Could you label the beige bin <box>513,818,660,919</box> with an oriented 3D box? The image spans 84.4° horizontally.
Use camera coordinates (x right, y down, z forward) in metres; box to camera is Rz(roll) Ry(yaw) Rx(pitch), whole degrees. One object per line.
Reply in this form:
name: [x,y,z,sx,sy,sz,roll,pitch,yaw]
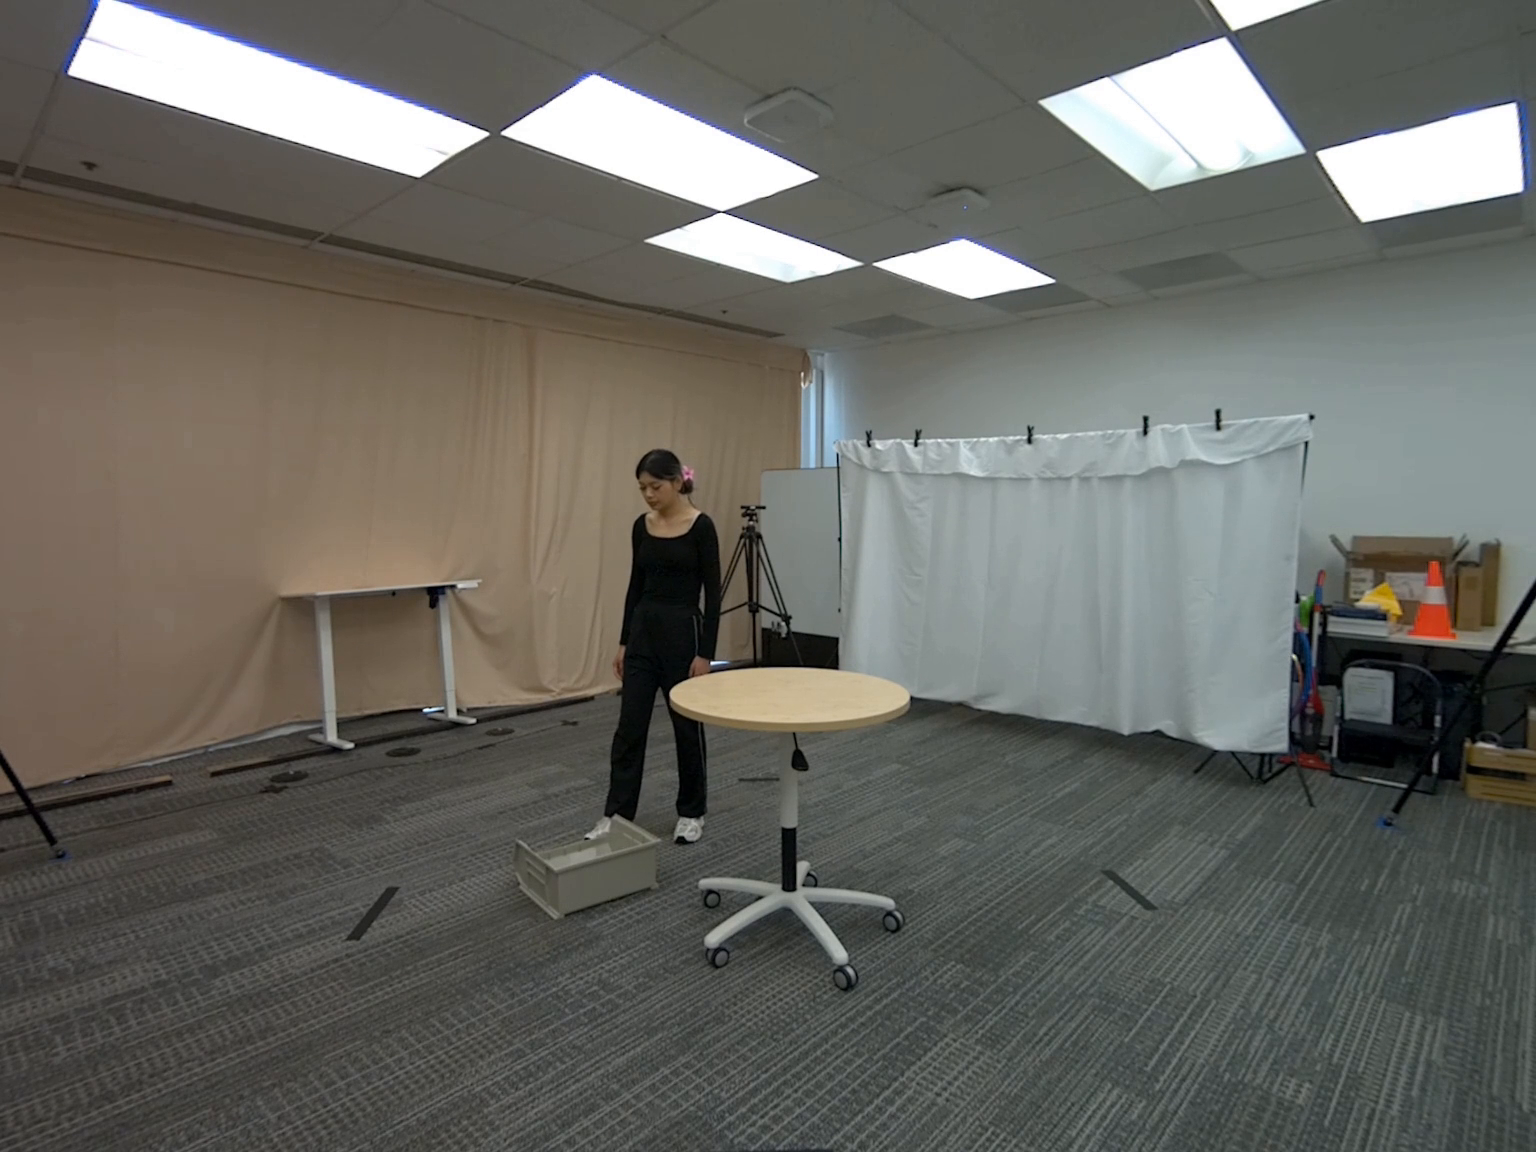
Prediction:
beige bin: [-0.673,1.049,3.093,0.410,0.188,0.390,-3,5,-37]
